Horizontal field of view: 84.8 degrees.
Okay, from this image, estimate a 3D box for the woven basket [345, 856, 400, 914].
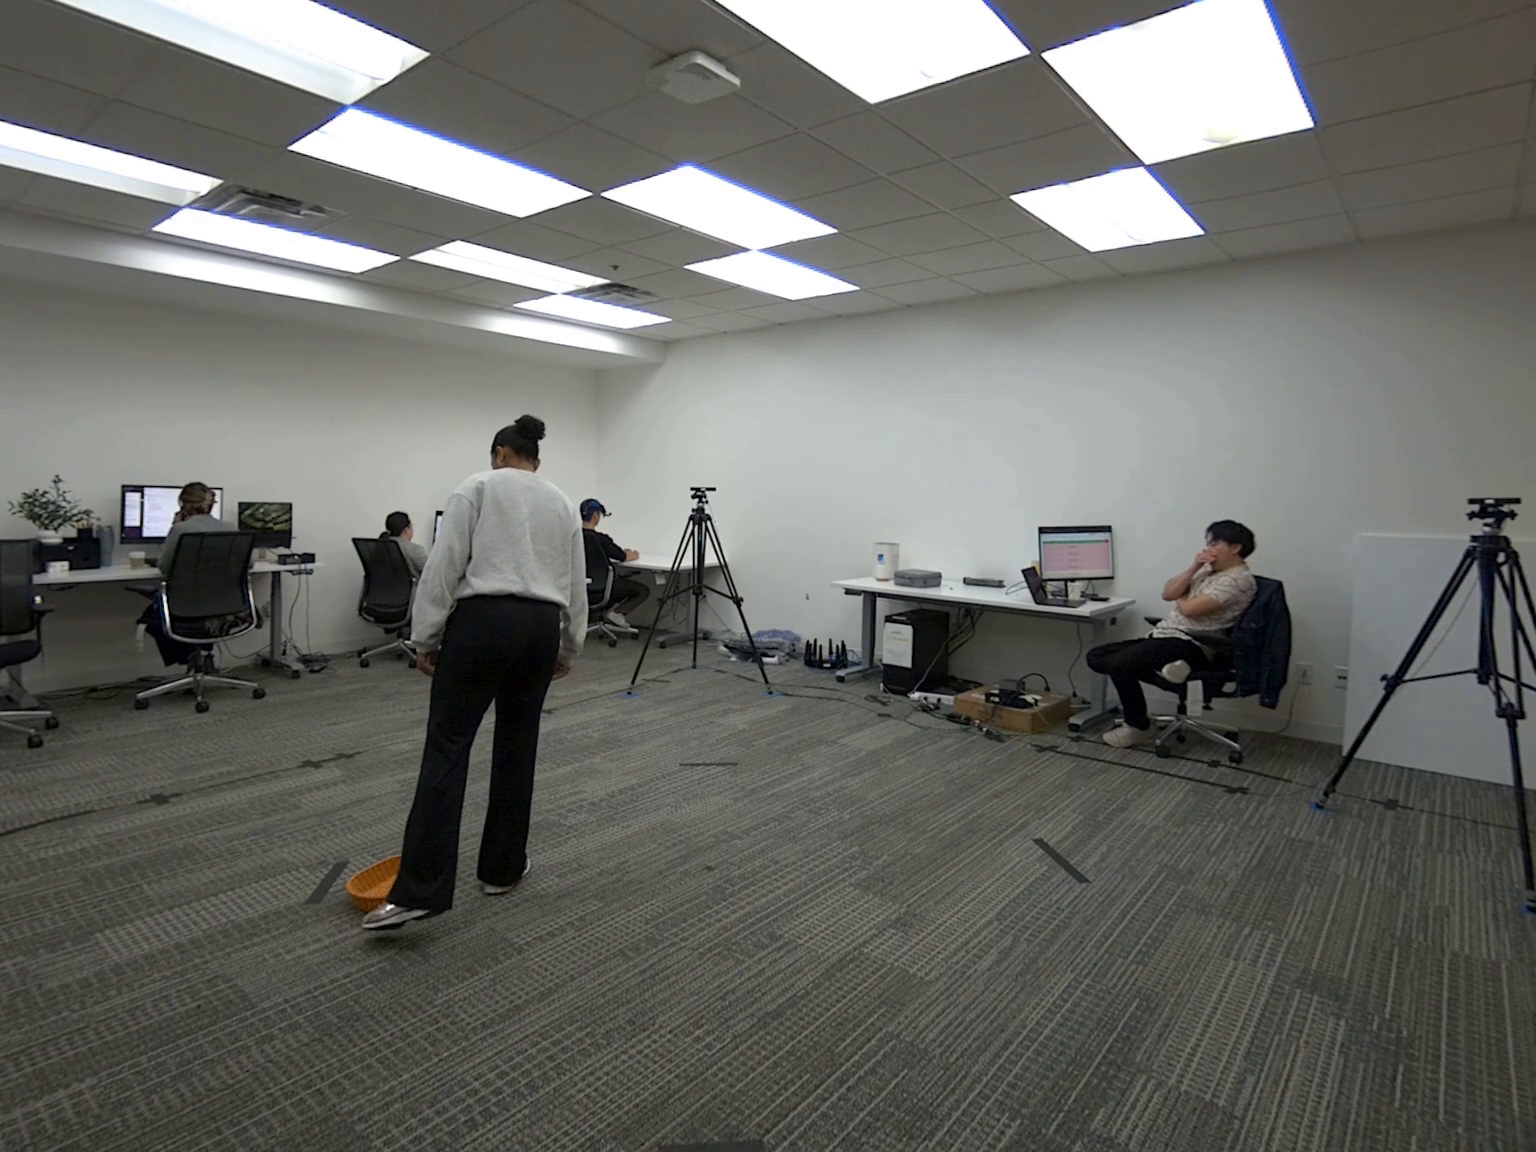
[{"bbox_3d":[-1.261,1.035,2.877,0.259,0.073,0.342,3,6,26],"label":"woven basket"}]
